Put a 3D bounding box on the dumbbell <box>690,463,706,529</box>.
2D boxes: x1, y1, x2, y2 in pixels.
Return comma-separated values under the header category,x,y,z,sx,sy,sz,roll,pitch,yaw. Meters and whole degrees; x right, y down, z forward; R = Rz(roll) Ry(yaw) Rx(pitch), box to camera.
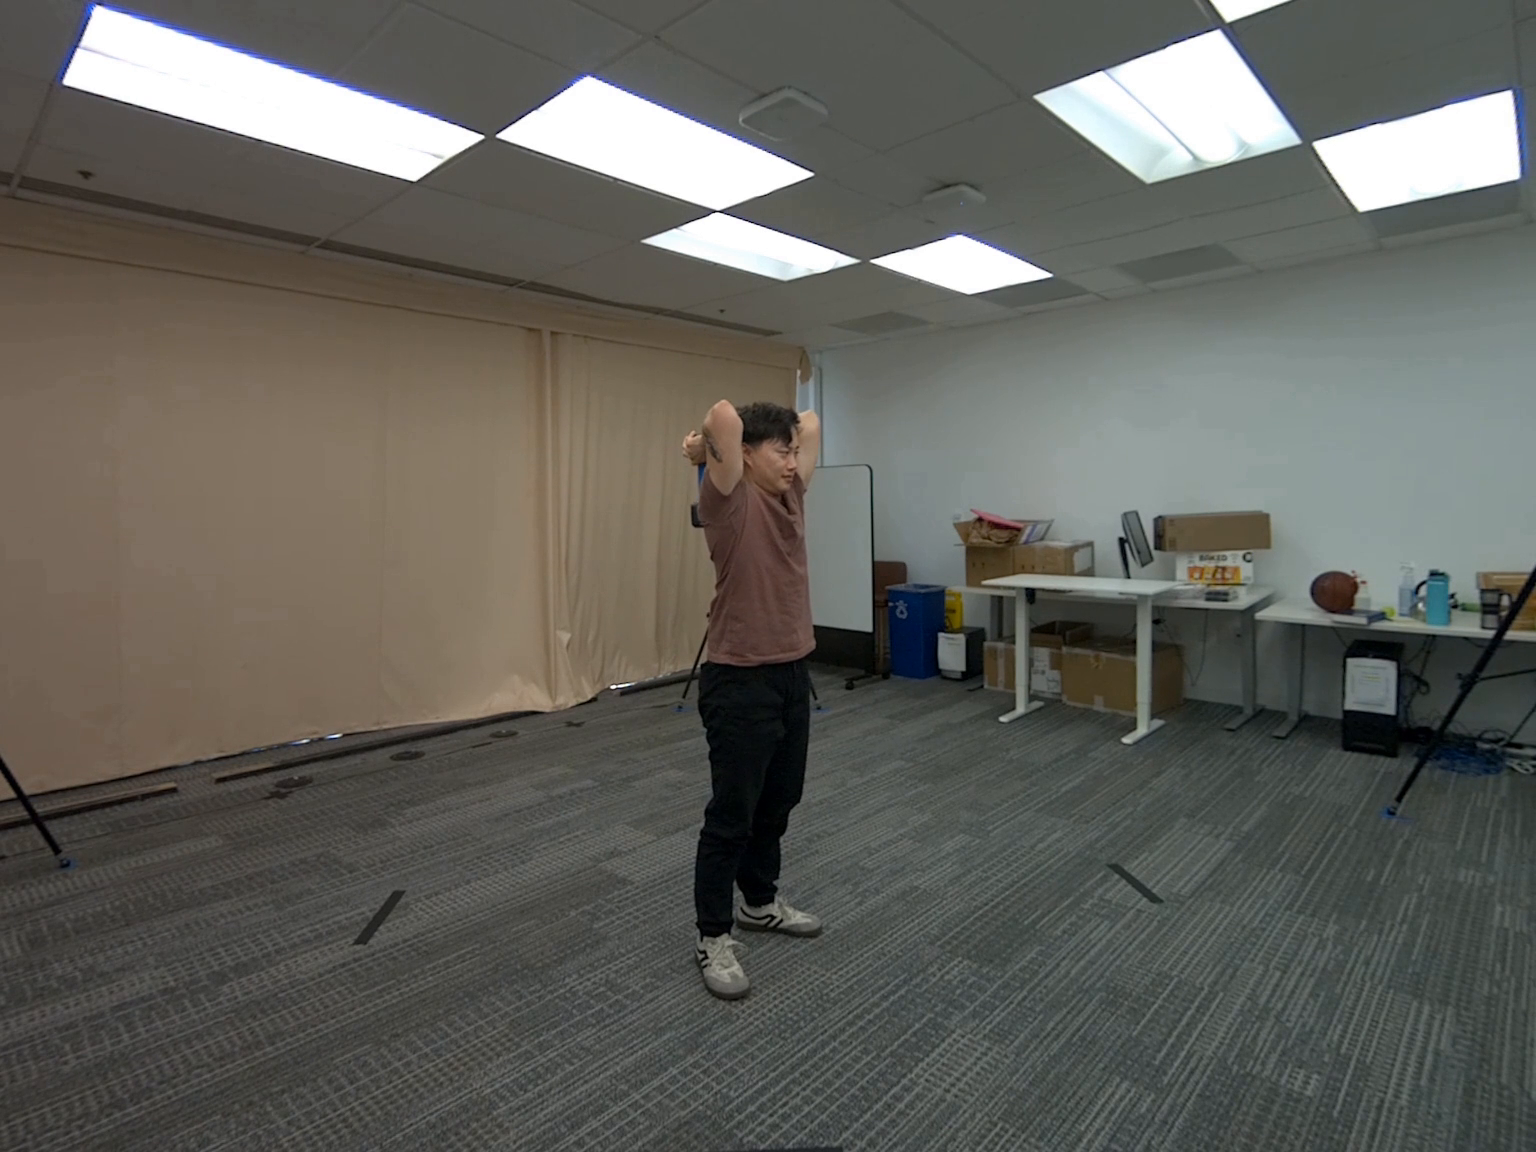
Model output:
category,x,y,z,sx,sy,sz,roll,pitch,yaw
dumbbell,-0.180,-0.300,2.652,0.126,0.293,0.106,-7,2,33
